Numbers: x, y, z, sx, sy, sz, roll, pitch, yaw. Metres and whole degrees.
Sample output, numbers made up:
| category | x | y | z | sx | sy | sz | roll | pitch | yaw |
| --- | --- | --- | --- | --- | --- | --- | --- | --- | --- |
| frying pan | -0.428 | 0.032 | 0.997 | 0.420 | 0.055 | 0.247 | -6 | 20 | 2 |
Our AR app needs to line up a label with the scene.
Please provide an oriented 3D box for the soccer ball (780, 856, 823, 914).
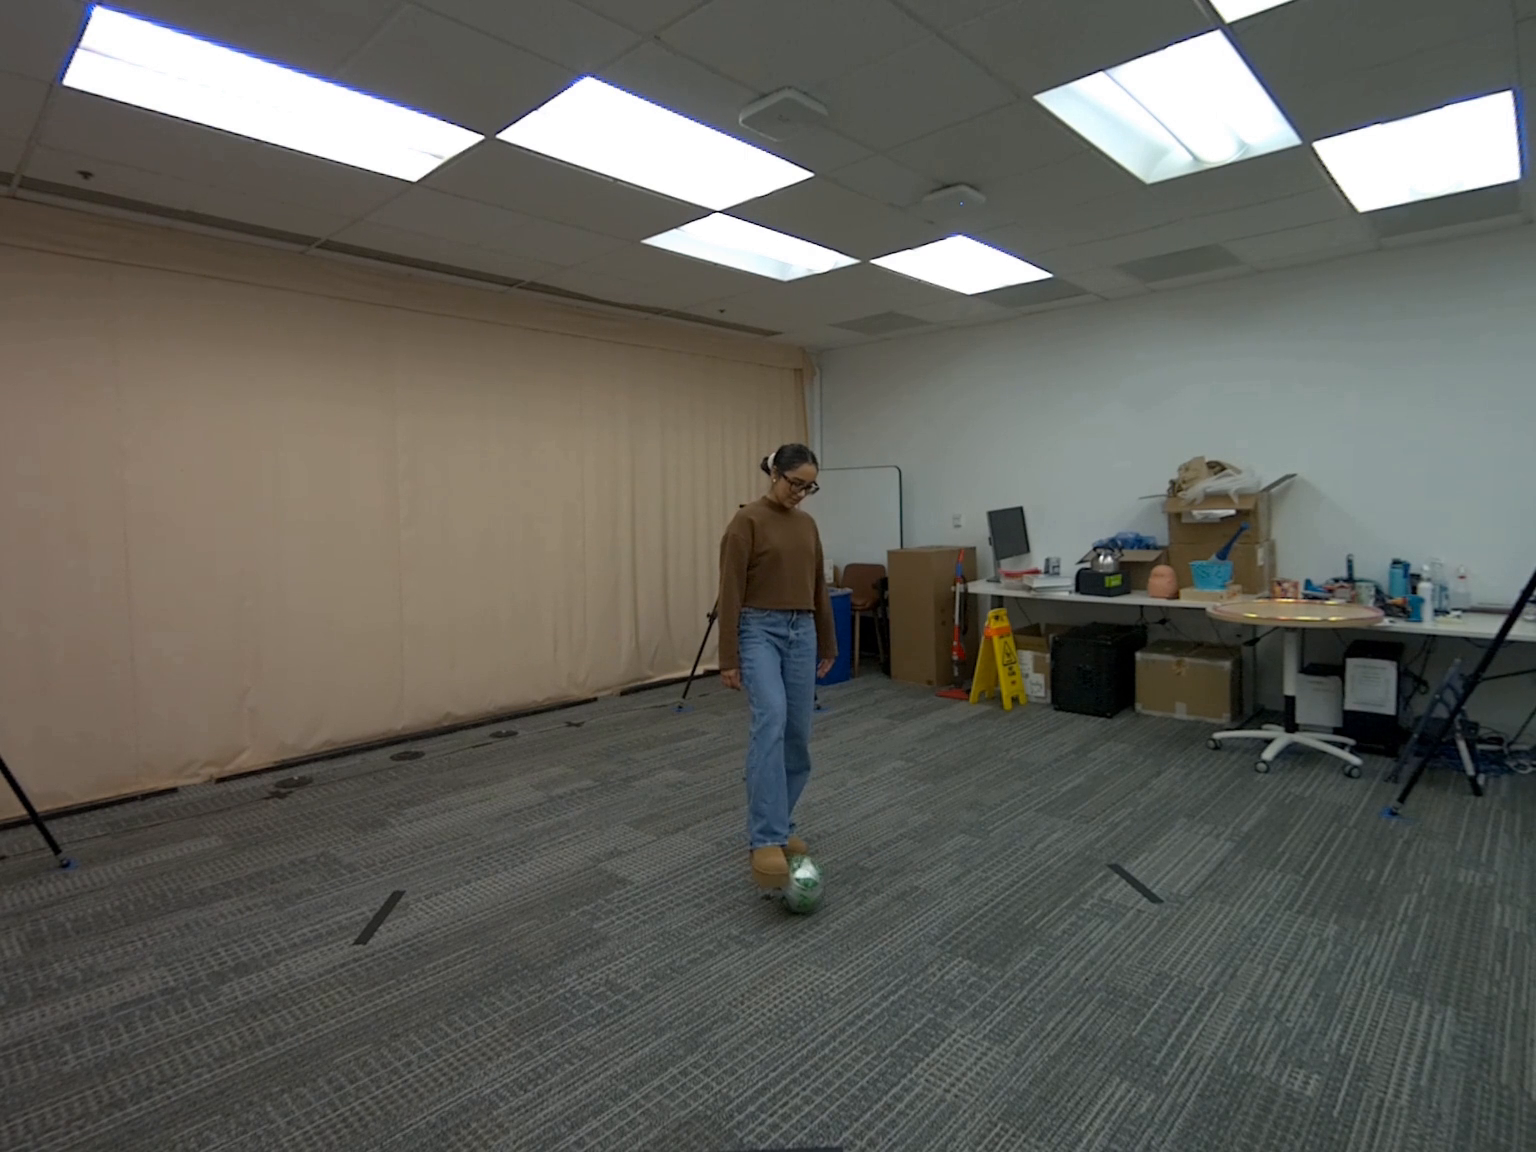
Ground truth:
| category | x | y | z | sx | sy | sz | roll | pitch | yaw |
| --- | --- | --- | --- | --- | --- | --- | --- | --- | --- |
| soccer ball | 0.110 | 1.049 | 2.892 | 0.187 | 0.187 | 0.188 | -1 | 4 | -2 |
